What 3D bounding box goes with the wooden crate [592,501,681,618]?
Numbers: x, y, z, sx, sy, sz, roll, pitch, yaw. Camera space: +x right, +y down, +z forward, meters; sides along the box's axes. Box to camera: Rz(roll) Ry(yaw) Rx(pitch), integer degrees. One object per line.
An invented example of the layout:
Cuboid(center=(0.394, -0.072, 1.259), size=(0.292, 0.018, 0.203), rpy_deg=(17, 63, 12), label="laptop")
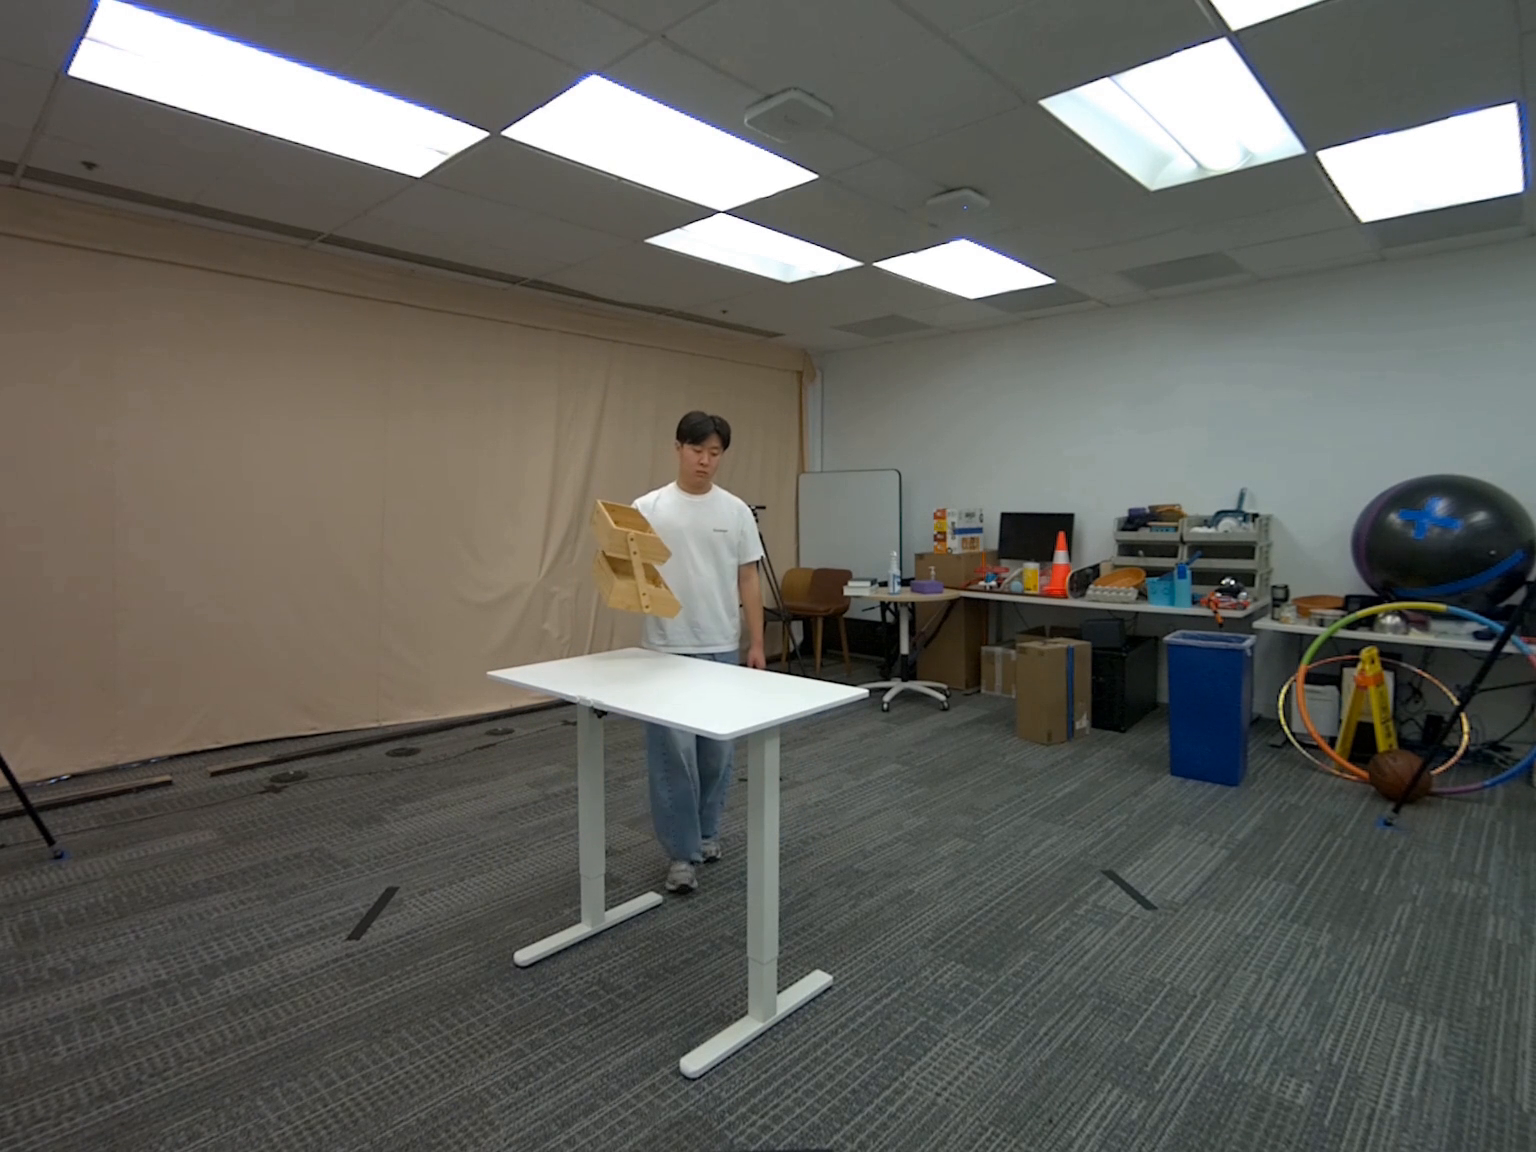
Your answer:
Cuboid(center=(-0.419, -0.059, 2.800), size=(0.294, 0.272, 0.334), rpy_deg=(11, 16, -25), label="wooden crate")
